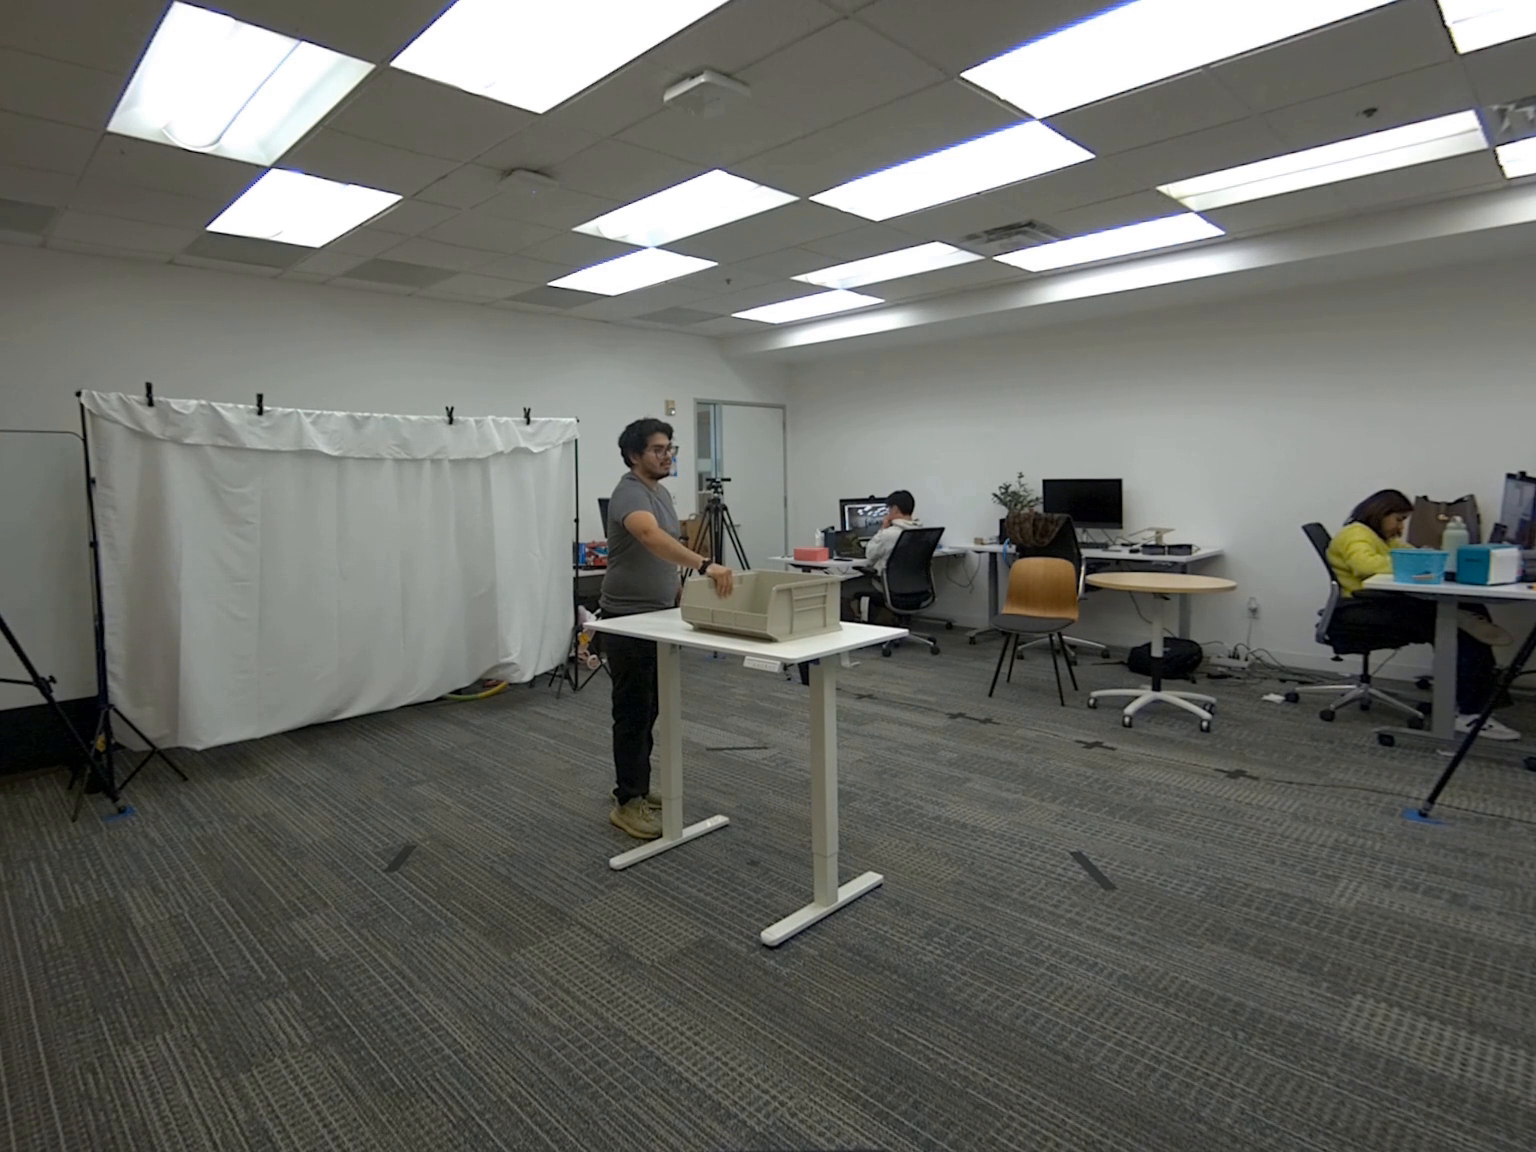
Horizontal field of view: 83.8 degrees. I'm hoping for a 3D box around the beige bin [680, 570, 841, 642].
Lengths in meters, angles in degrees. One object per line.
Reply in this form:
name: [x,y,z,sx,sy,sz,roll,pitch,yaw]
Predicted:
beige bin: [-0.020,0.095,2.875,0.367,0.188,0.435,-4,6,-44]
